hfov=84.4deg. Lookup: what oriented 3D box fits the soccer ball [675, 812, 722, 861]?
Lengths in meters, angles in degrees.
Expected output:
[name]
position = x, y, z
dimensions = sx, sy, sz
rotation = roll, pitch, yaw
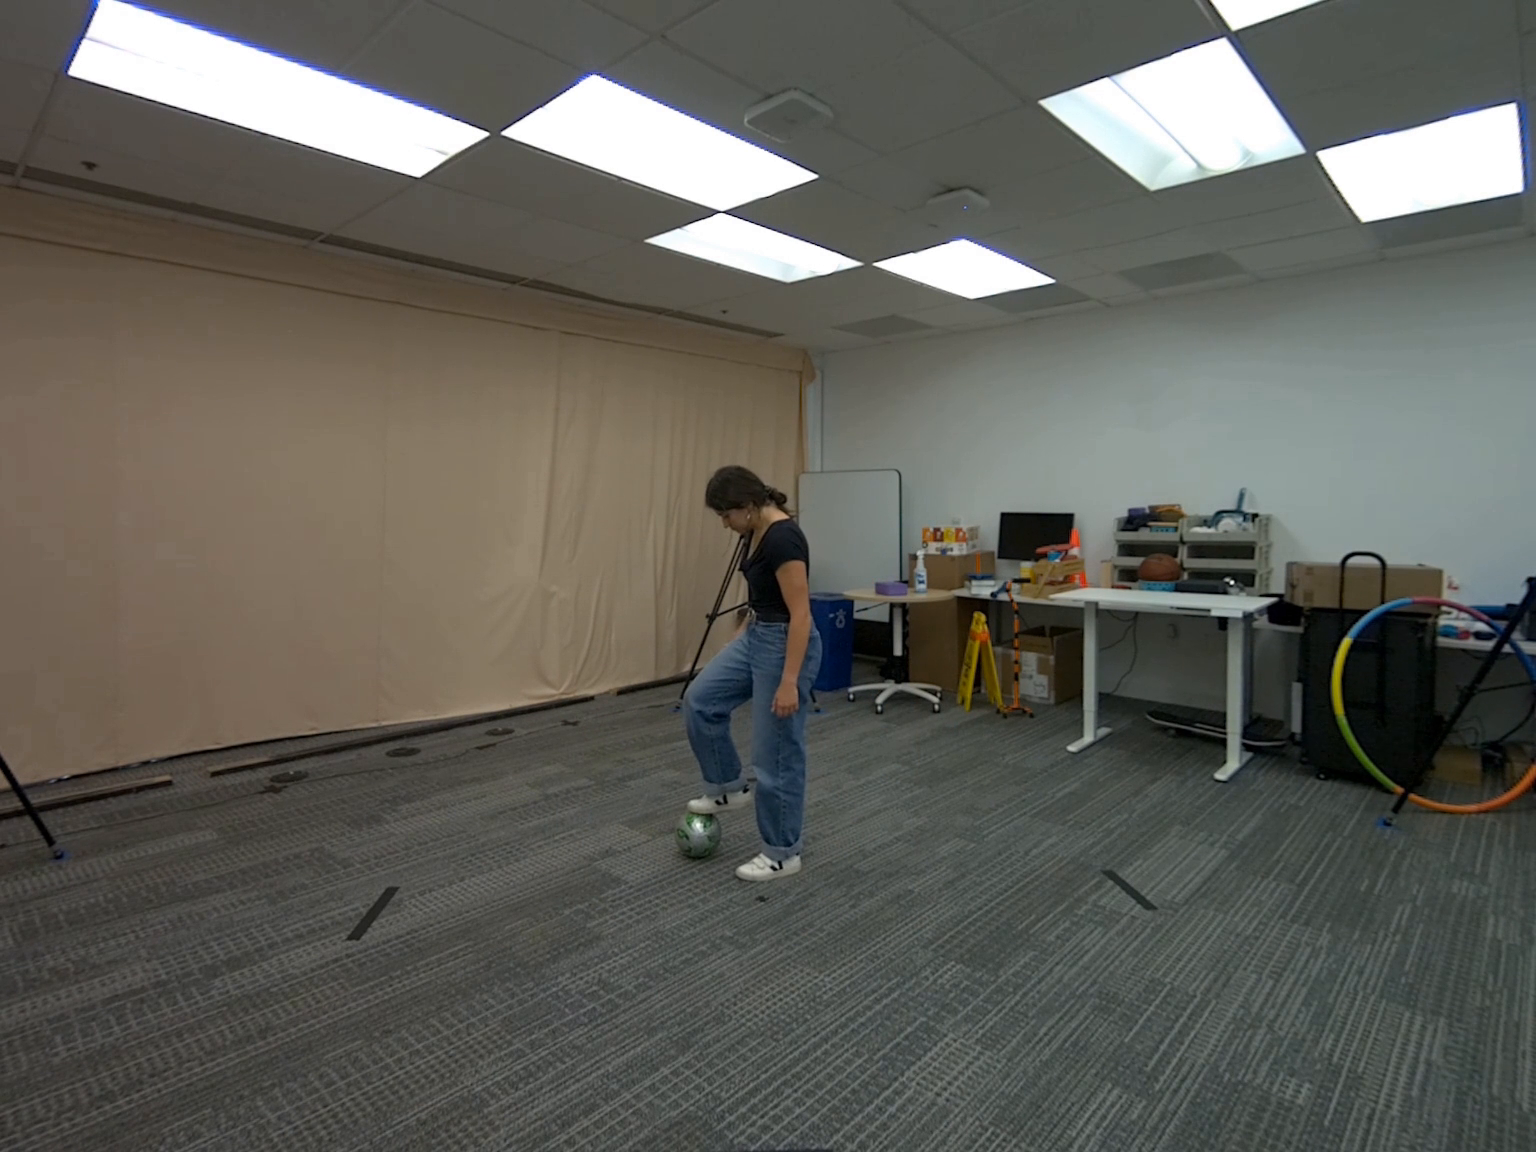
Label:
[soccer ball]
position = -0.270, 1.024, 3.350
dimensions = 0.187, 0.187, 0.188
rotation = 0, 4, -2
